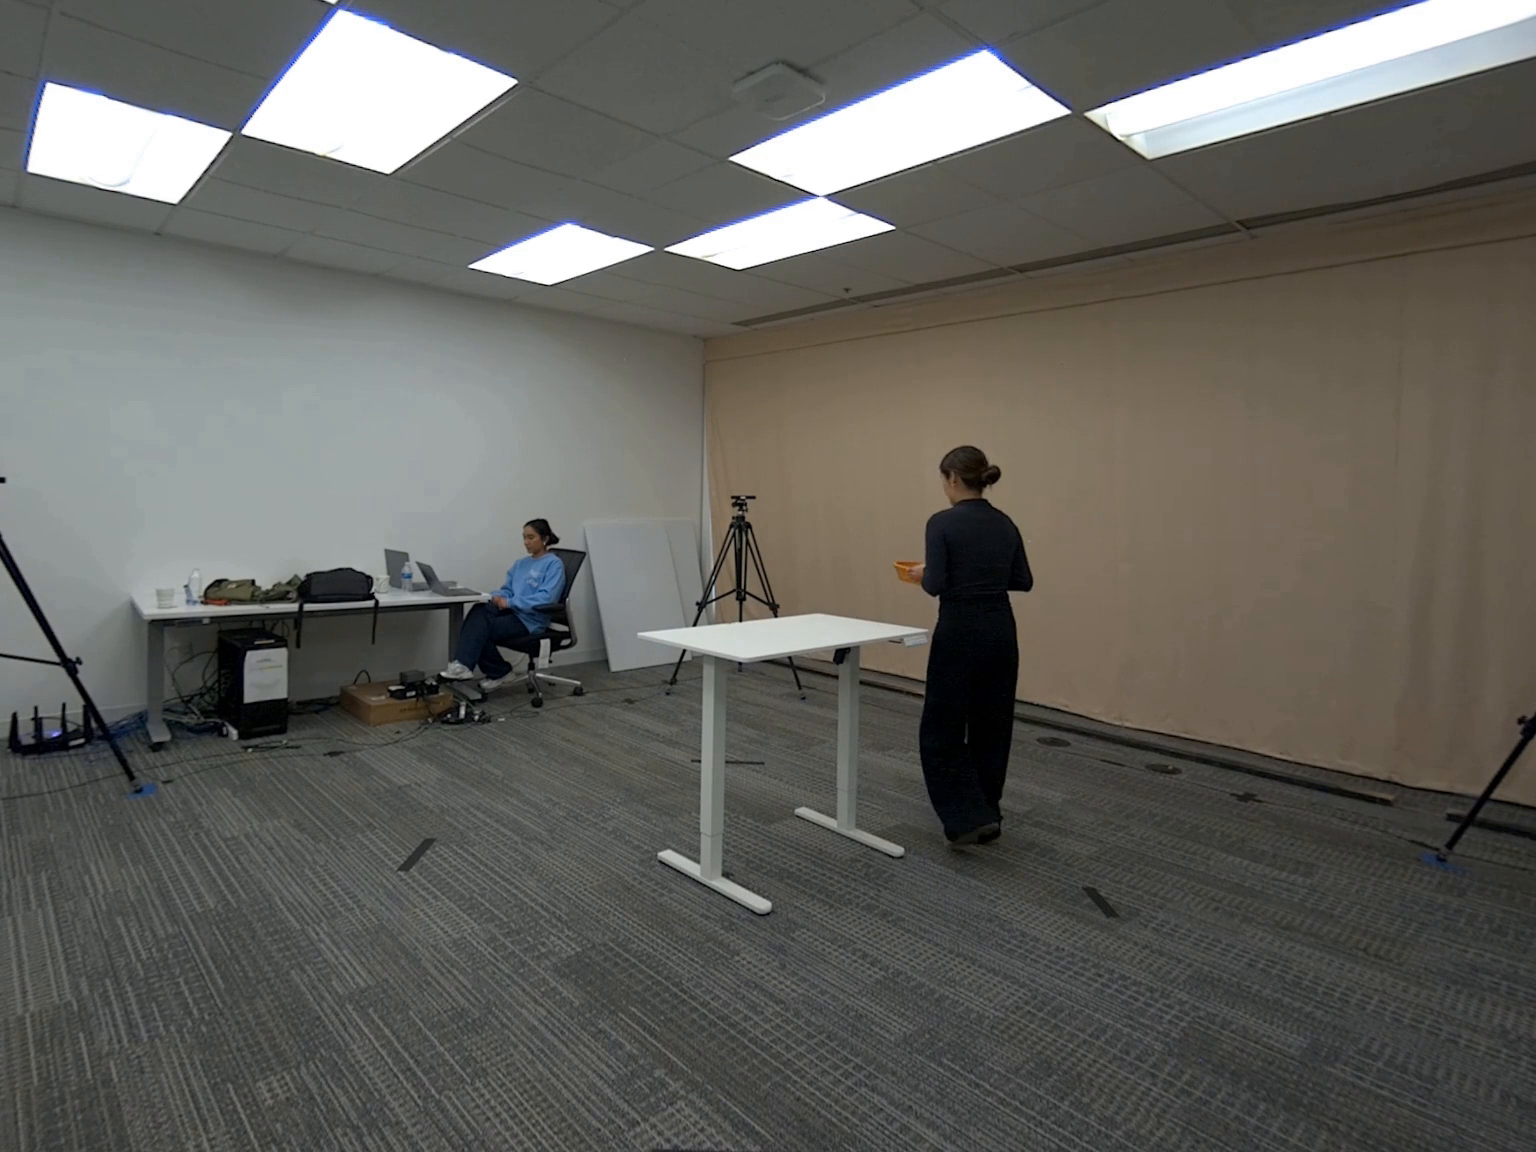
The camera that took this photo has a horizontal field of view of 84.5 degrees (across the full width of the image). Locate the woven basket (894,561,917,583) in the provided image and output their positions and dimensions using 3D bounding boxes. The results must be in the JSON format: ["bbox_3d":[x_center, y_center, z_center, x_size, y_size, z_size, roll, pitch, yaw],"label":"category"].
[{"bbox_3d":[0.742,0.003,3.719,0.360,0.073,0.247,9,9,40],"label":"woven basket"}]
